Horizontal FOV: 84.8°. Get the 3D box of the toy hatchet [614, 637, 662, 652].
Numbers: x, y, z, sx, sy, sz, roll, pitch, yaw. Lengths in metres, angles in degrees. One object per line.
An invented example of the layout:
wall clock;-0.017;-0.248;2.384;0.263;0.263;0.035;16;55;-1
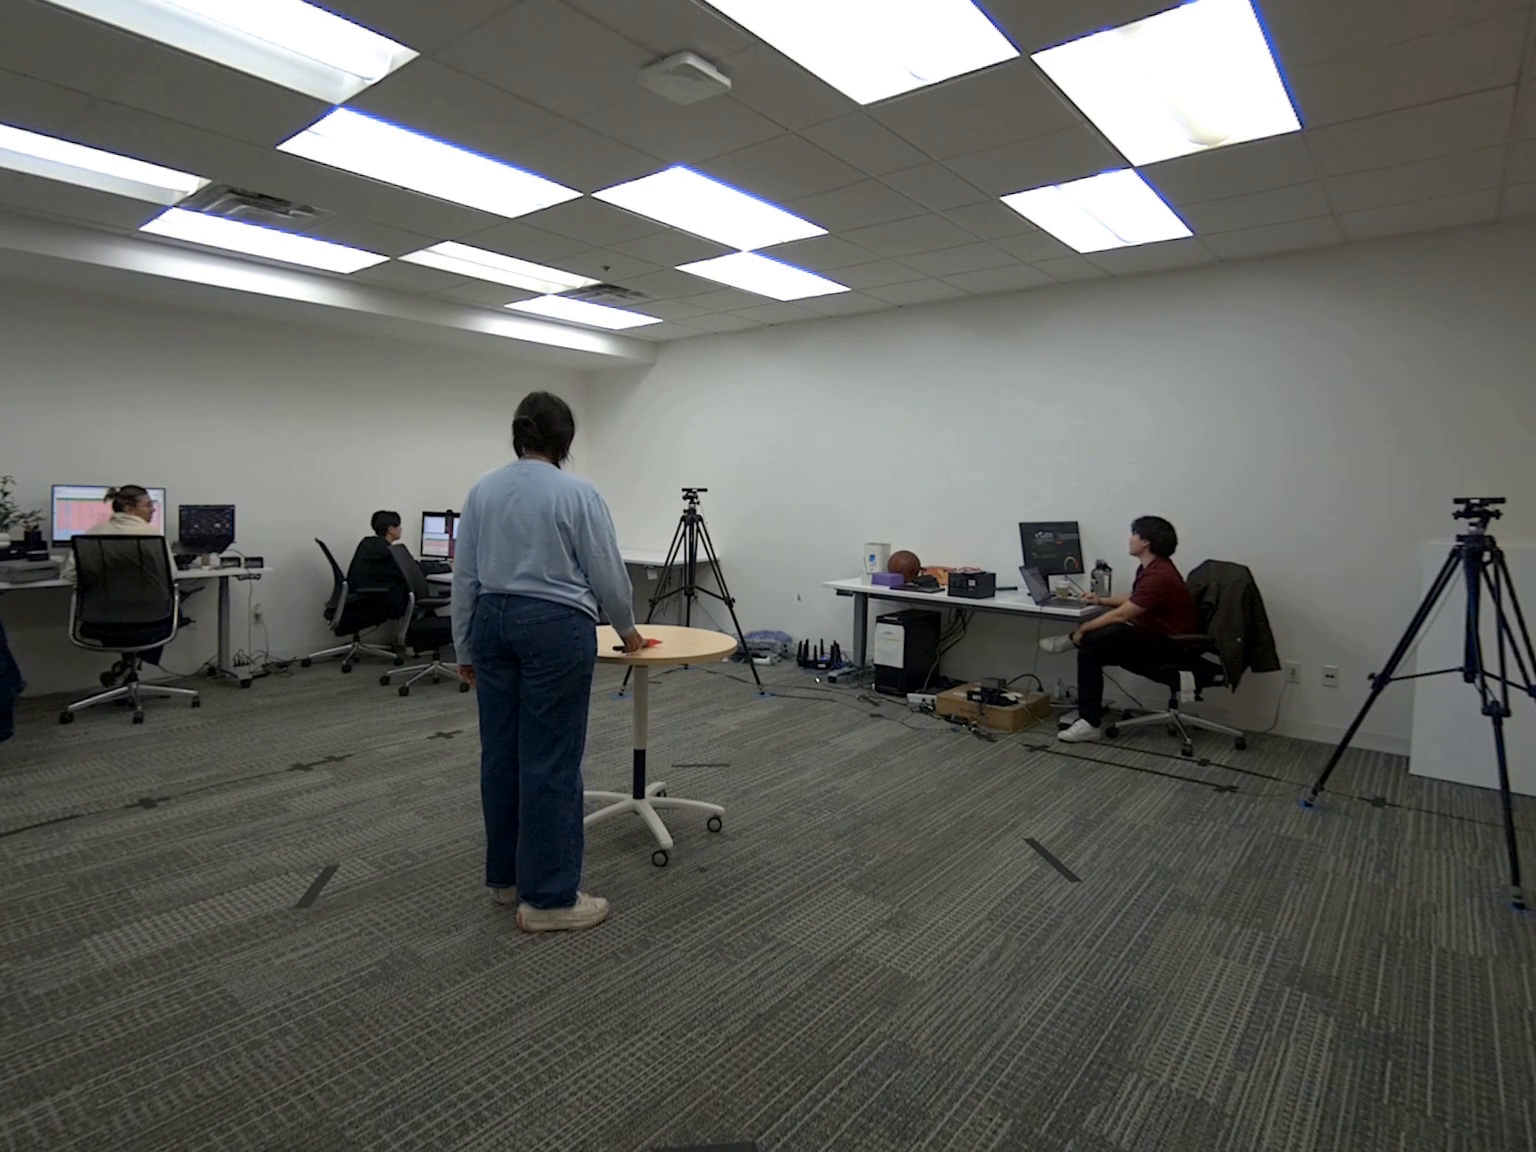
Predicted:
toy hatchet;-0.527;0.254;3.175;0.135;0.029;0.263;1;3;30
